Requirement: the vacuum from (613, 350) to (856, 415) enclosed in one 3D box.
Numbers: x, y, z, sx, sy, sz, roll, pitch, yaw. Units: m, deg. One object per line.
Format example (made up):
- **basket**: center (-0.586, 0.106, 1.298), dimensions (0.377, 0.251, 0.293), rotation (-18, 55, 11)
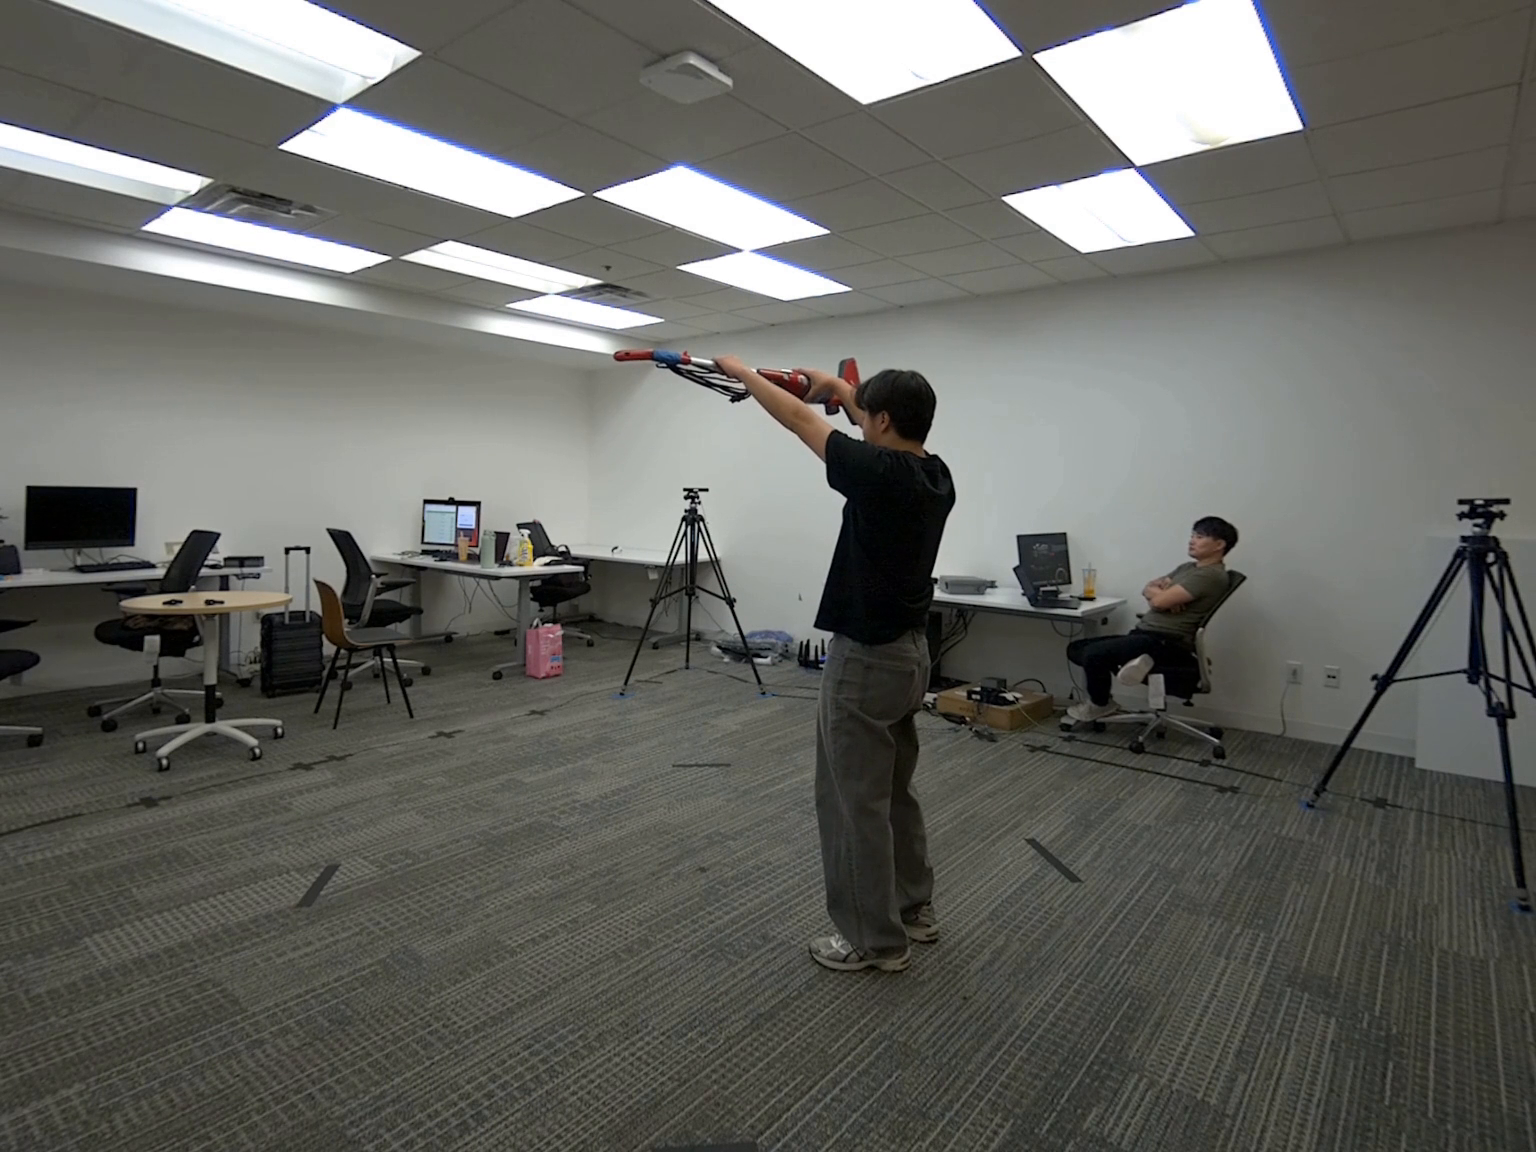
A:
- **vacuum**: center (-0.074, -0.646, 2.770), dimensions (1.017, 0.255, 0.147), rotation (-4, -13, -46)
